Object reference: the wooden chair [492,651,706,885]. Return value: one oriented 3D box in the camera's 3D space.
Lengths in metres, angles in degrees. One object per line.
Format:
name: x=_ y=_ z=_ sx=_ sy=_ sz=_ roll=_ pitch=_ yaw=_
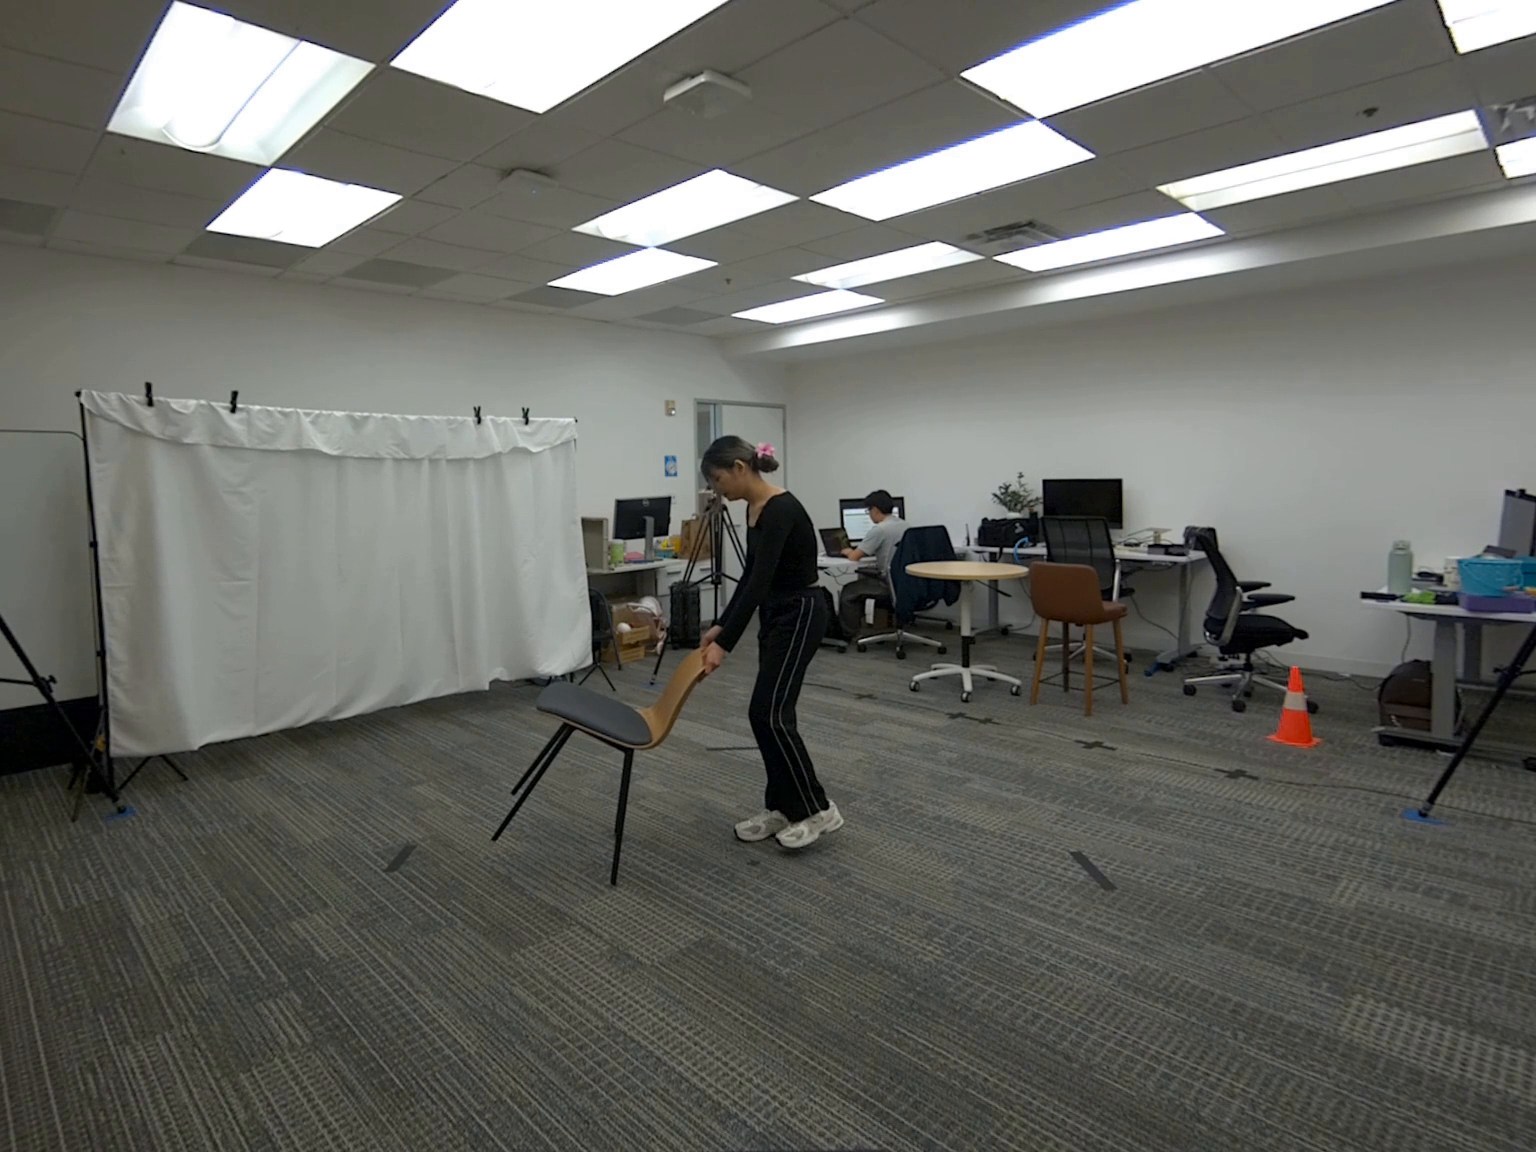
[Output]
wooden chair: x=-0.601 y=0.563 z=3.124 sx=0.518 sy=0.877 sz=0.483 roll=28 pitch=1 yaw=-9
